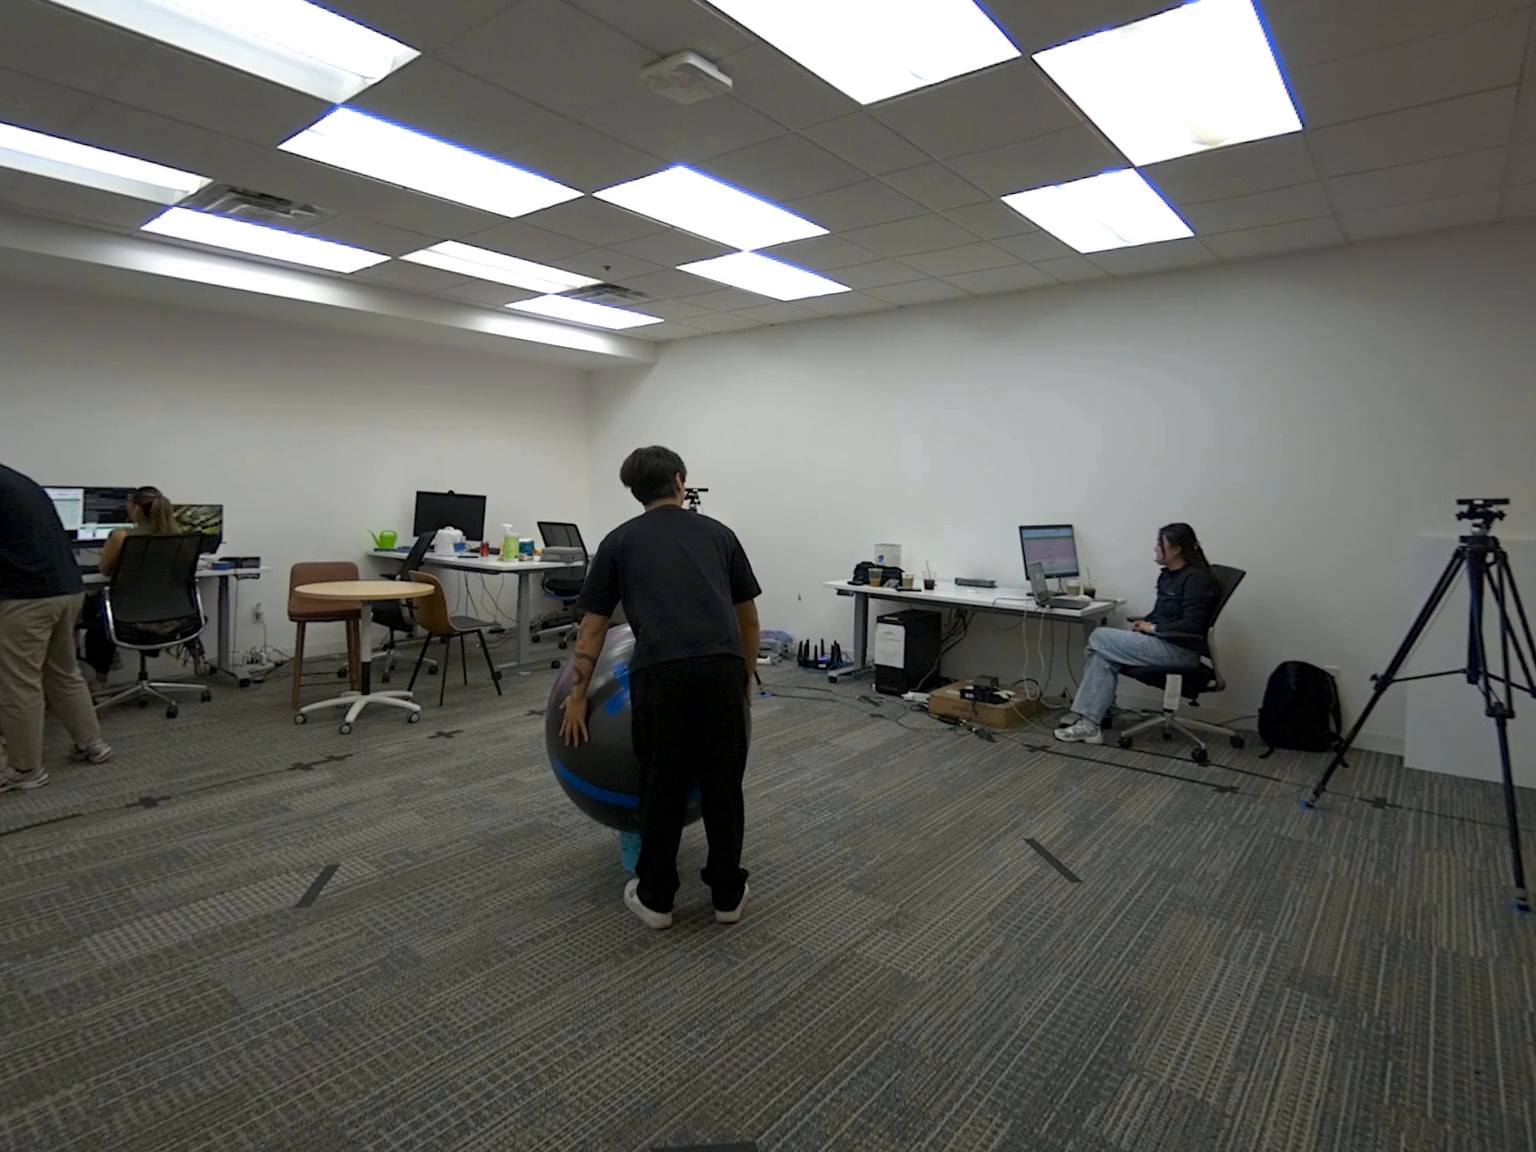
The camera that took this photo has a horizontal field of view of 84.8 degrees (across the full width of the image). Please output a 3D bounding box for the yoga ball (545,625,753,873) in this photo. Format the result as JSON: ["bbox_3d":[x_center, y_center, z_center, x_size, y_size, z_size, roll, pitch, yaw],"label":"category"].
[{"bbox_3d":[-0.452,0.551,3.141,0.757,0.755,0.762,1,4,-2],"label":"yoga ball"}]
